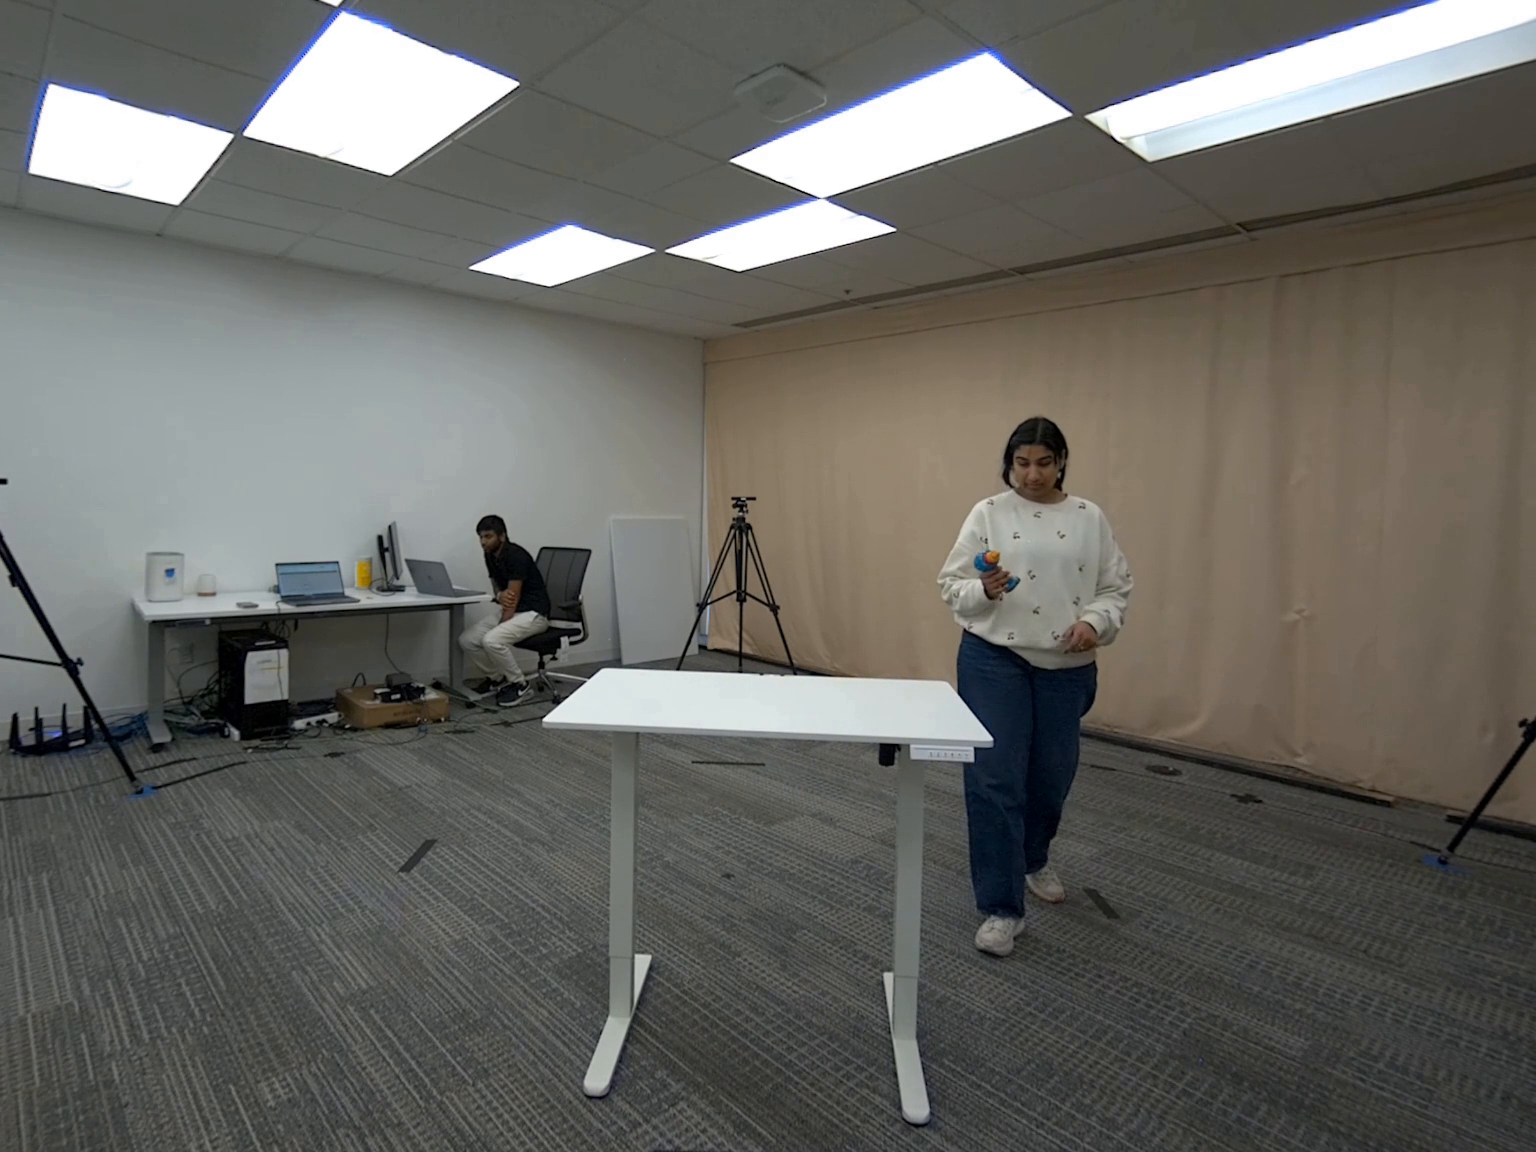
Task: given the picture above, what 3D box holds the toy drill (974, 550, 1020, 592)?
[{"bbox_3d":[0.673,-0.019,2.499,0.147,0.061,0.168,41,-13,5],"label":"toy drill"}]
